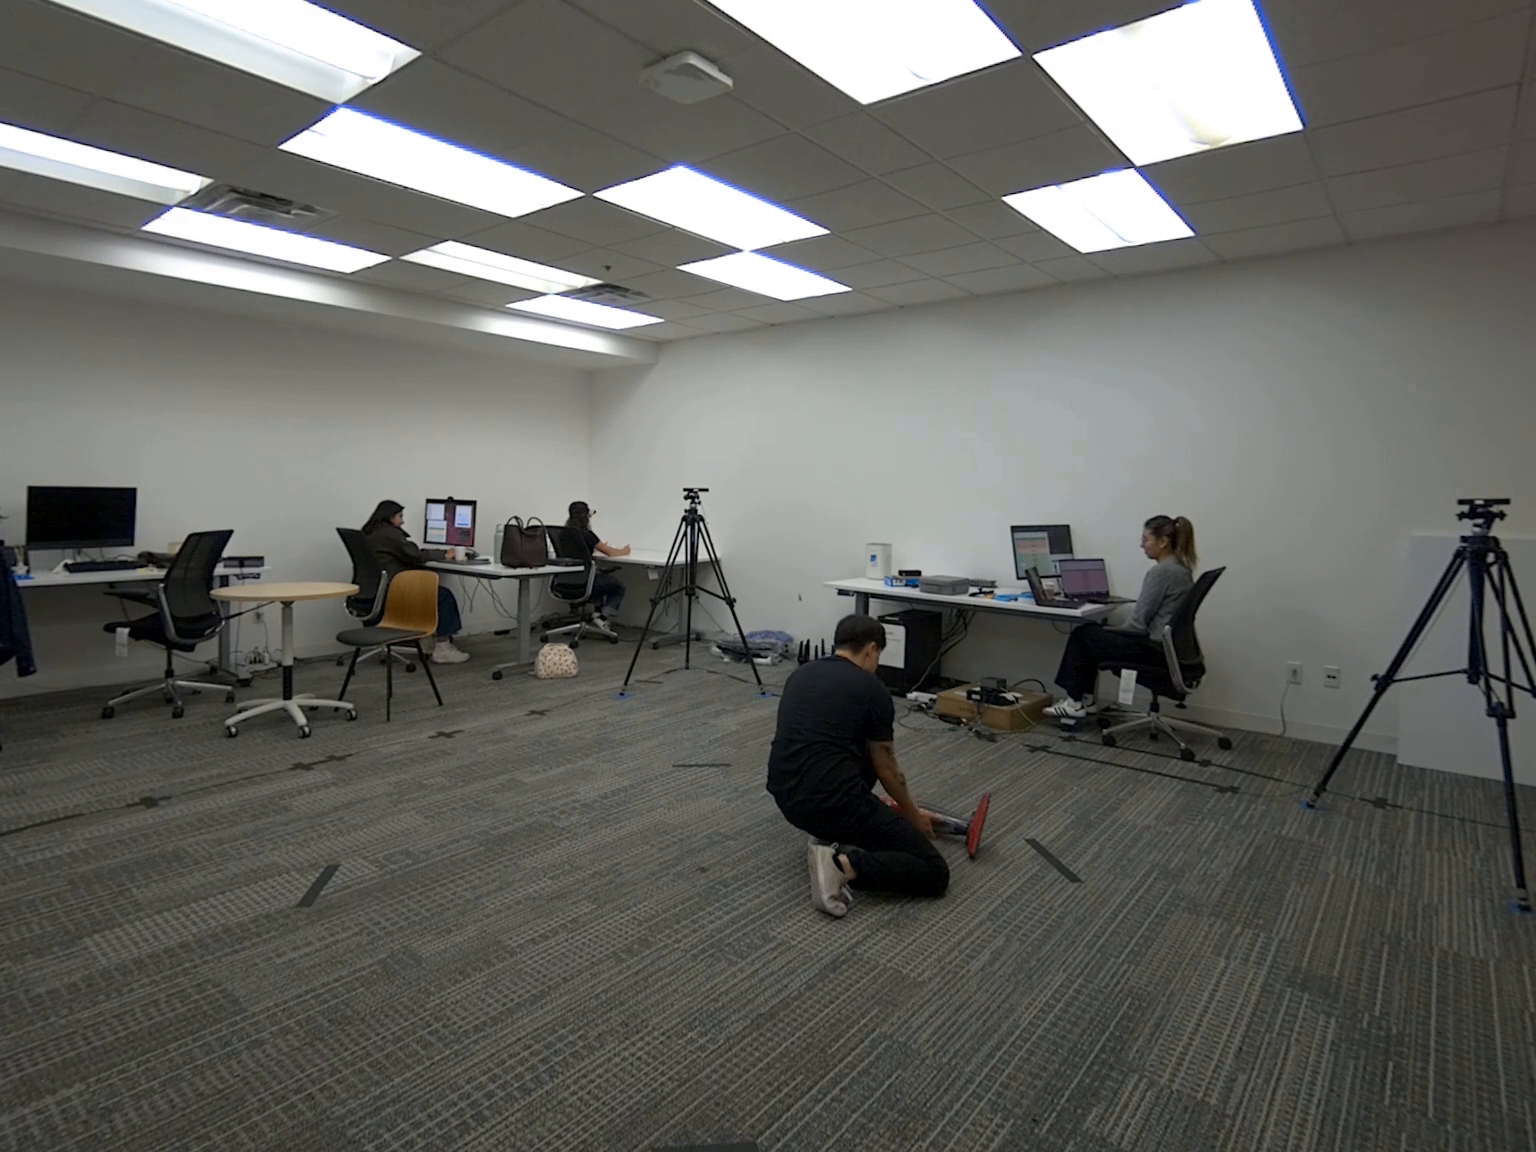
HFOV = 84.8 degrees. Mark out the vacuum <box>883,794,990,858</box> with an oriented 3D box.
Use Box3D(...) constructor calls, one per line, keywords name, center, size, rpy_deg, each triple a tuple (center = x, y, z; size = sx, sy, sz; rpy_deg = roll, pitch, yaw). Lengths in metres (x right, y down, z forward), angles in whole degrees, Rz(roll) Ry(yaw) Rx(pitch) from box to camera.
Box3D(name="vacuum", center=(0.435, 0.976, 3.686), size=(1.083, 0.255, 0.138), rpy_deg=(1, -34, 44))
